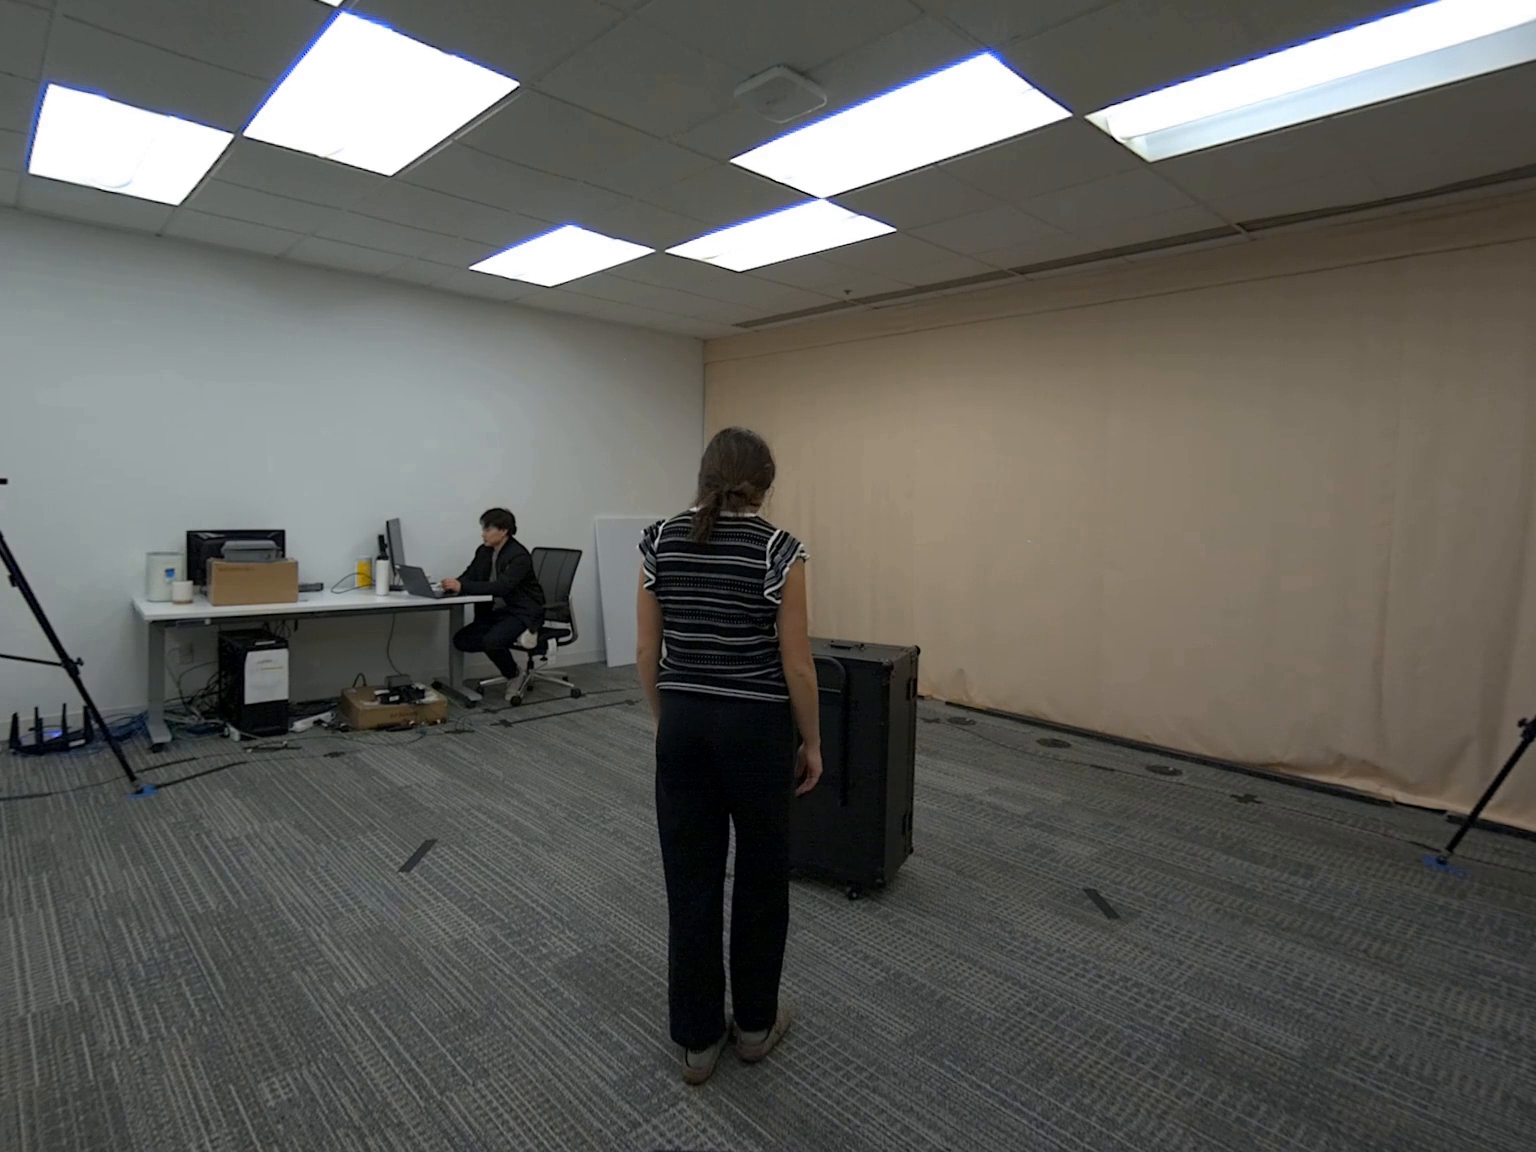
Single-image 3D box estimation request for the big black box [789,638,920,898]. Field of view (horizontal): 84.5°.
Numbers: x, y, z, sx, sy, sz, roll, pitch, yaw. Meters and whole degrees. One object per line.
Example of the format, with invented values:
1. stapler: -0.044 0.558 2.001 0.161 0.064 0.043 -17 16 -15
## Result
1. big black box: 0.262 0.689 3.104 0.532 0.859 0.389 3 5 27
